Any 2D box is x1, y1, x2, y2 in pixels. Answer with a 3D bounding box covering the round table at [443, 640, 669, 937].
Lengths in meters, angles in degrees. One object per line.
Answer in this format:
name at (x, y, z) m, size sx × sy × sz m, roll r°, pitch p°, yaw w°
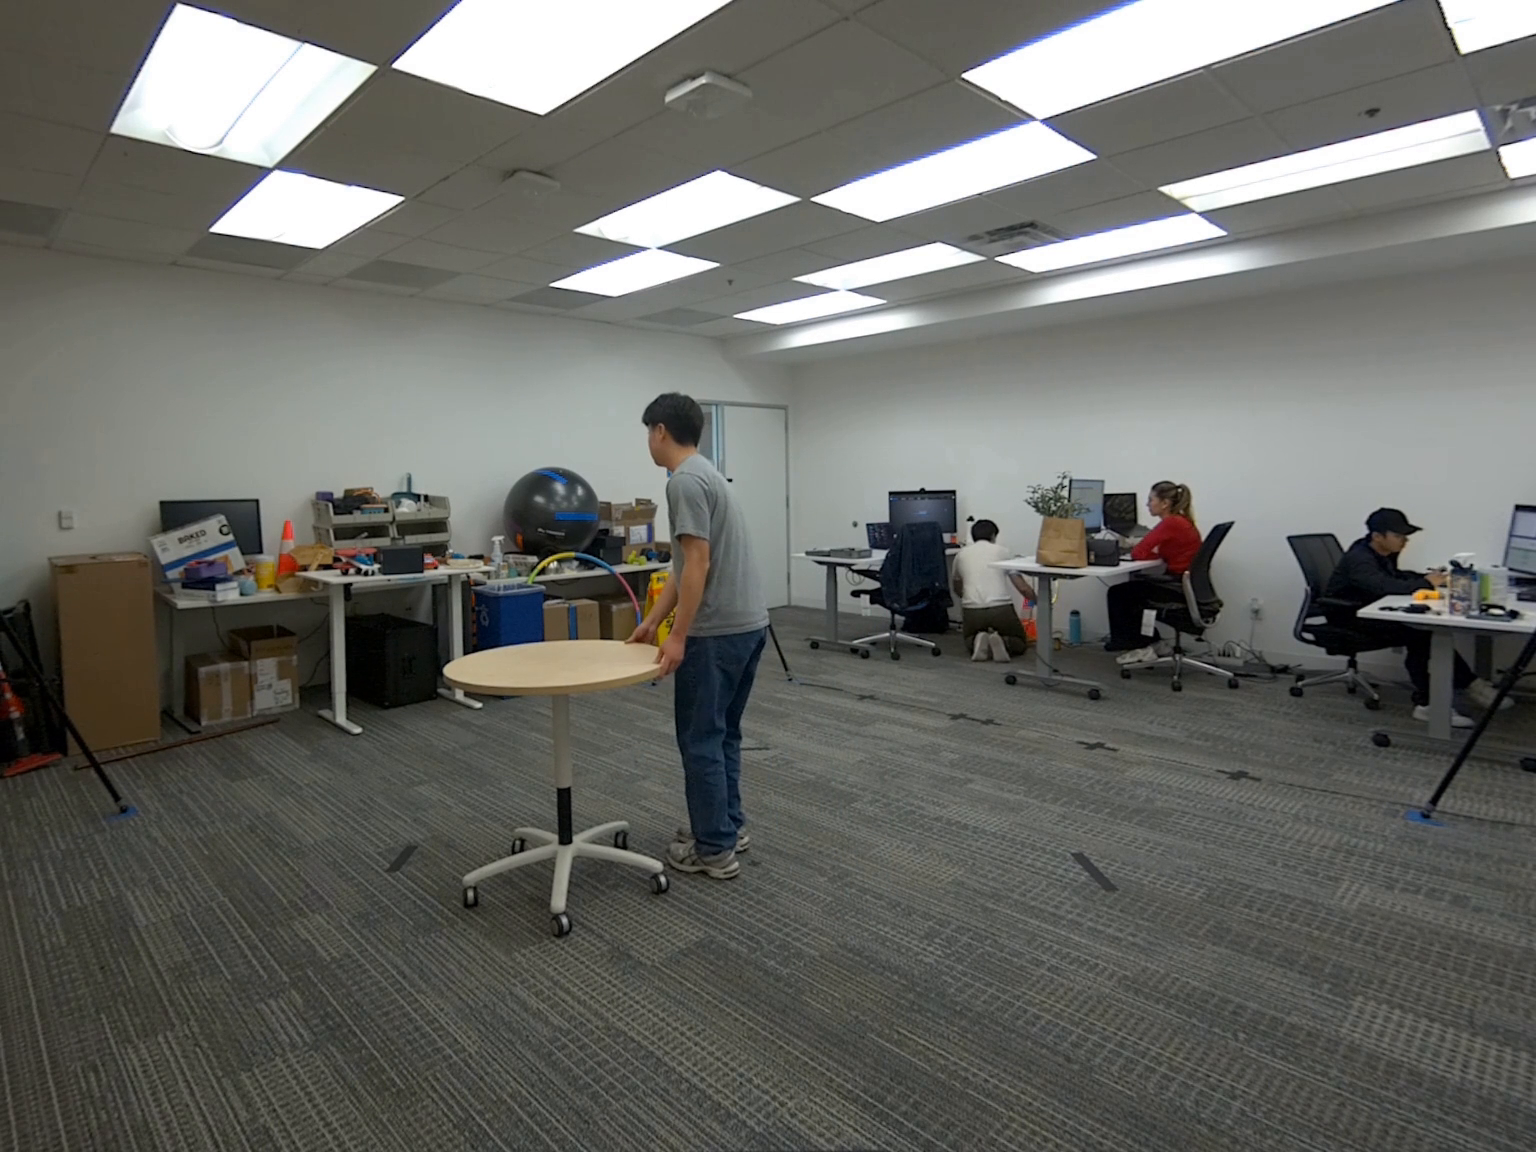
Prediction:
round table at (-0.705, 0.683, 2.972) m, size 0.763 × 0.791 × 0.768 m, roll -2°, pitch 5°, yaw -2°
